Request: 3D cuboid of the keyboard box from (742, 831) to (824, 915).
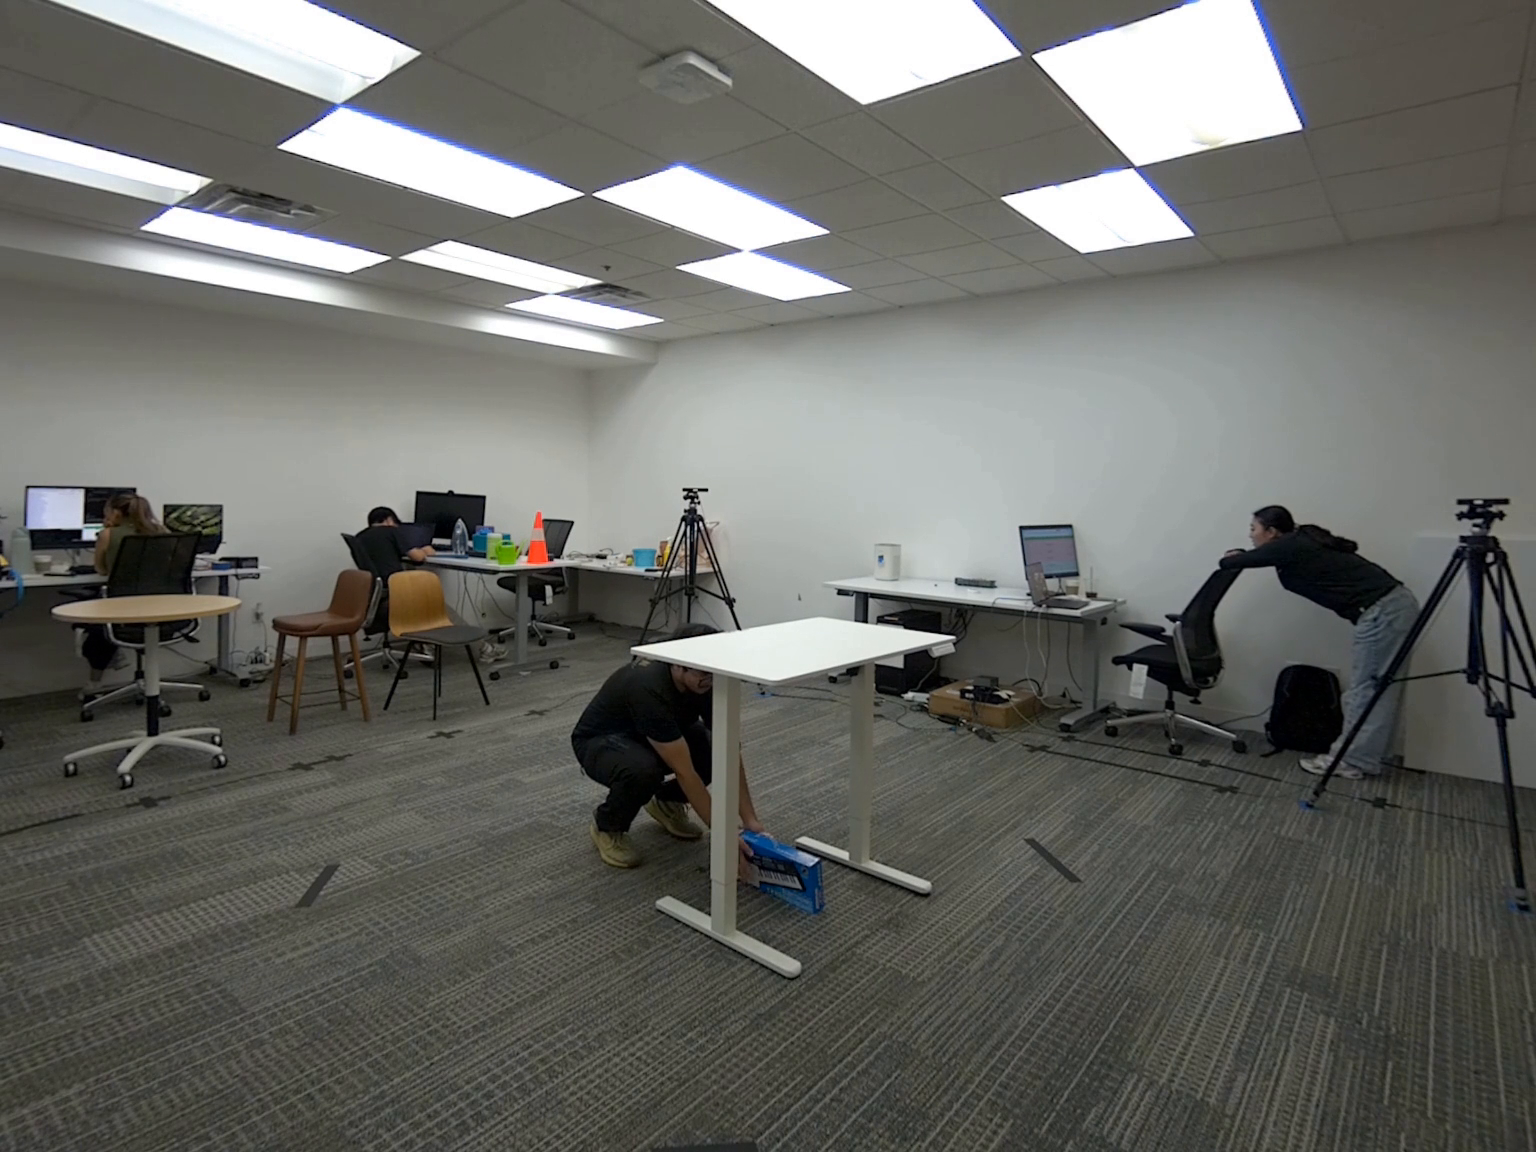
[{"bbox_3d":[-0.006,1.002,2.947,0.452,0.174,0.057,6,13,44],"label":"keyboard box"}]
